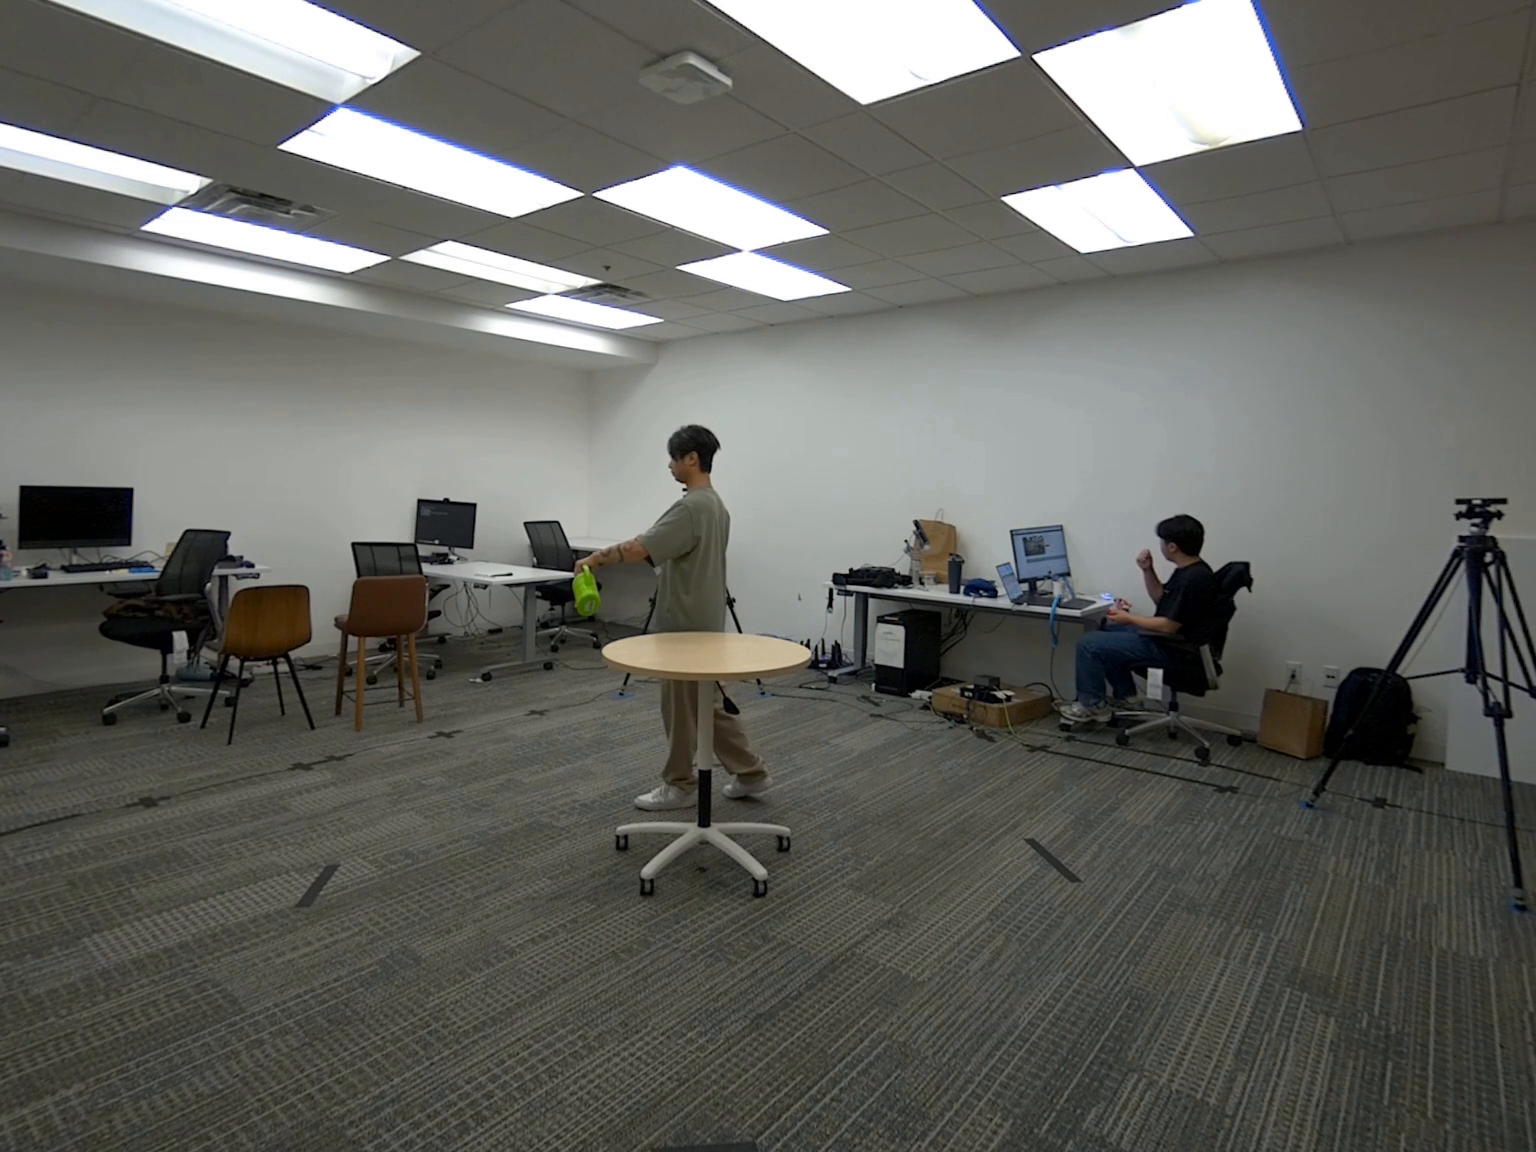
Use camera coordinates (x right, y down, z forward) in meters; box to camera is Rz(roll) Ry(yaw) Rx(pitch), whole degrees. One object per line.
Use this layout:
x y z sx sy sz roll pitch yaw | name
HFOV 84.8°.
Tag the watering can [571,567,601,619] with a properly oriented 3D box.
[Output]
-0.765 0.088 3.533 0.097 0.270 0.184 -12 47 -11 | watering can
